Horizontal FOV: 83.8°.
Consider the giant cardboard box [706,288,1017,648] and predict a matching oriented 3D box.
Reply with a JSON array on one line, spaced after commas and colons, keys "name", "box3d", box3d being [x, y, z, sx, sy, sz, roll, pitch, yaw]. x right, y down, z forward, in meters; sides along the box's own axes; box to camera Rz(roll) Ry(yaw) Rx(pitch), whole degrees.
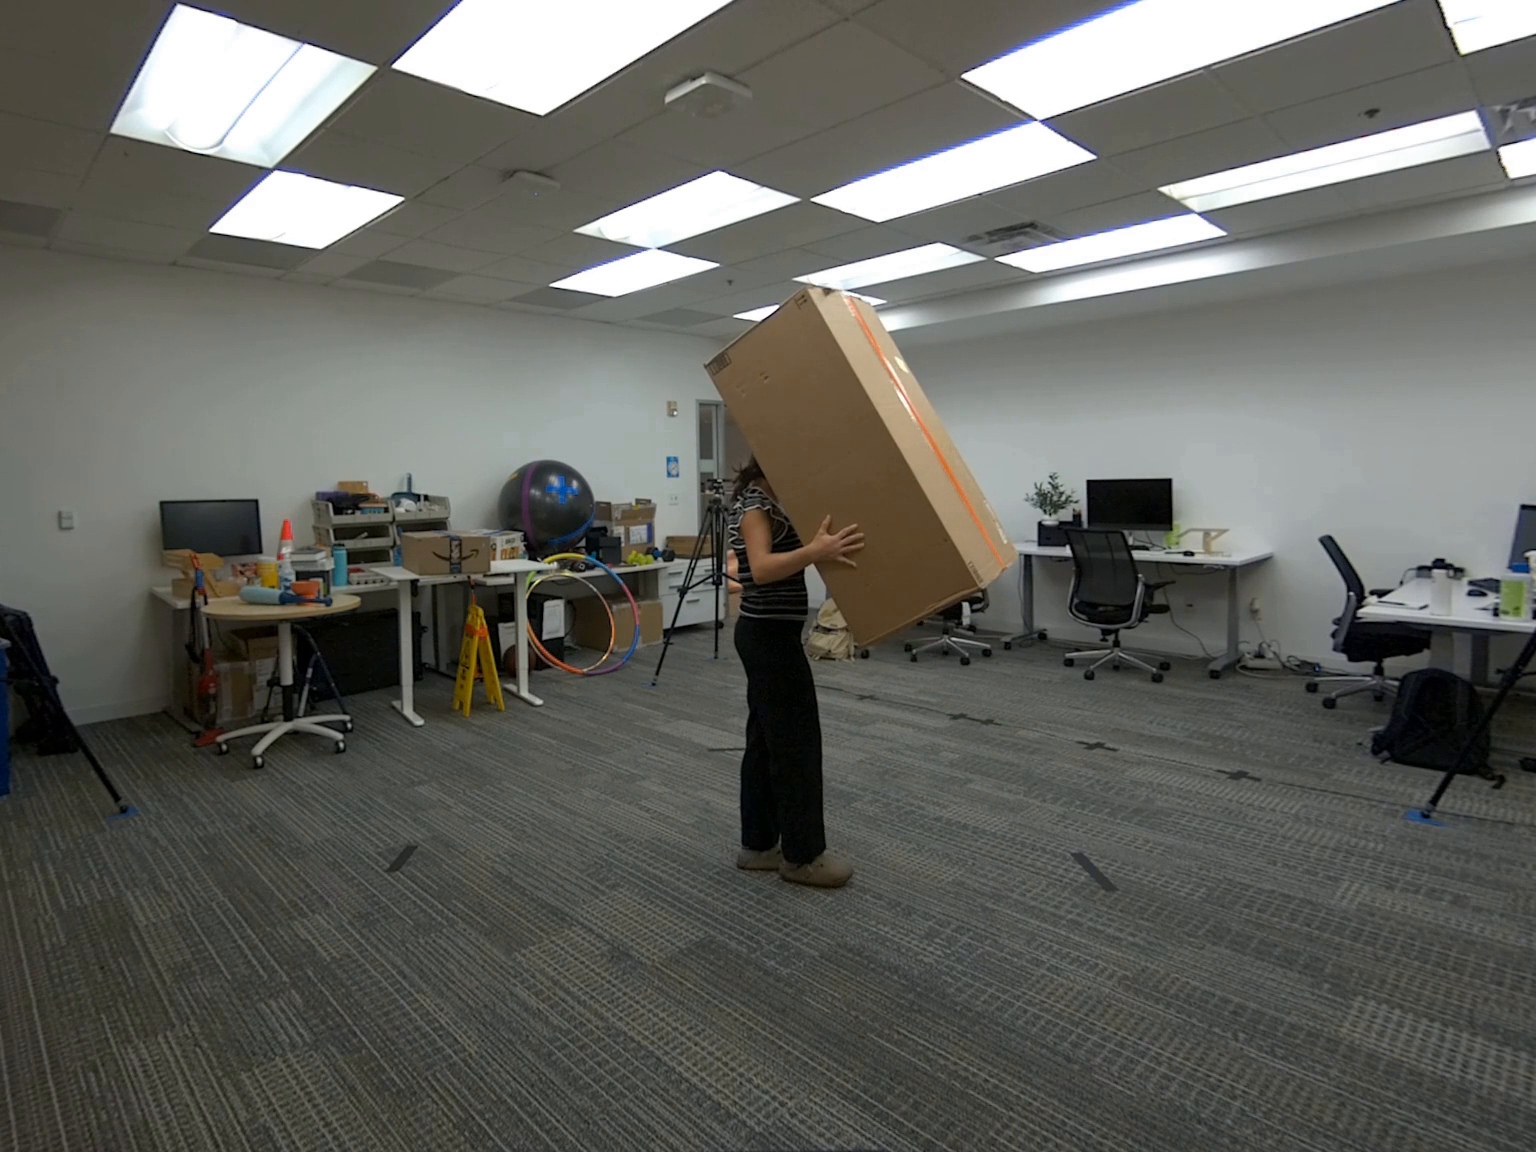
[{"name": "giant cardboard box", "box3d": [0.324, -0.363, 2.798, 0.430, 1.035, 0.567, -32, -7, 28]}]
